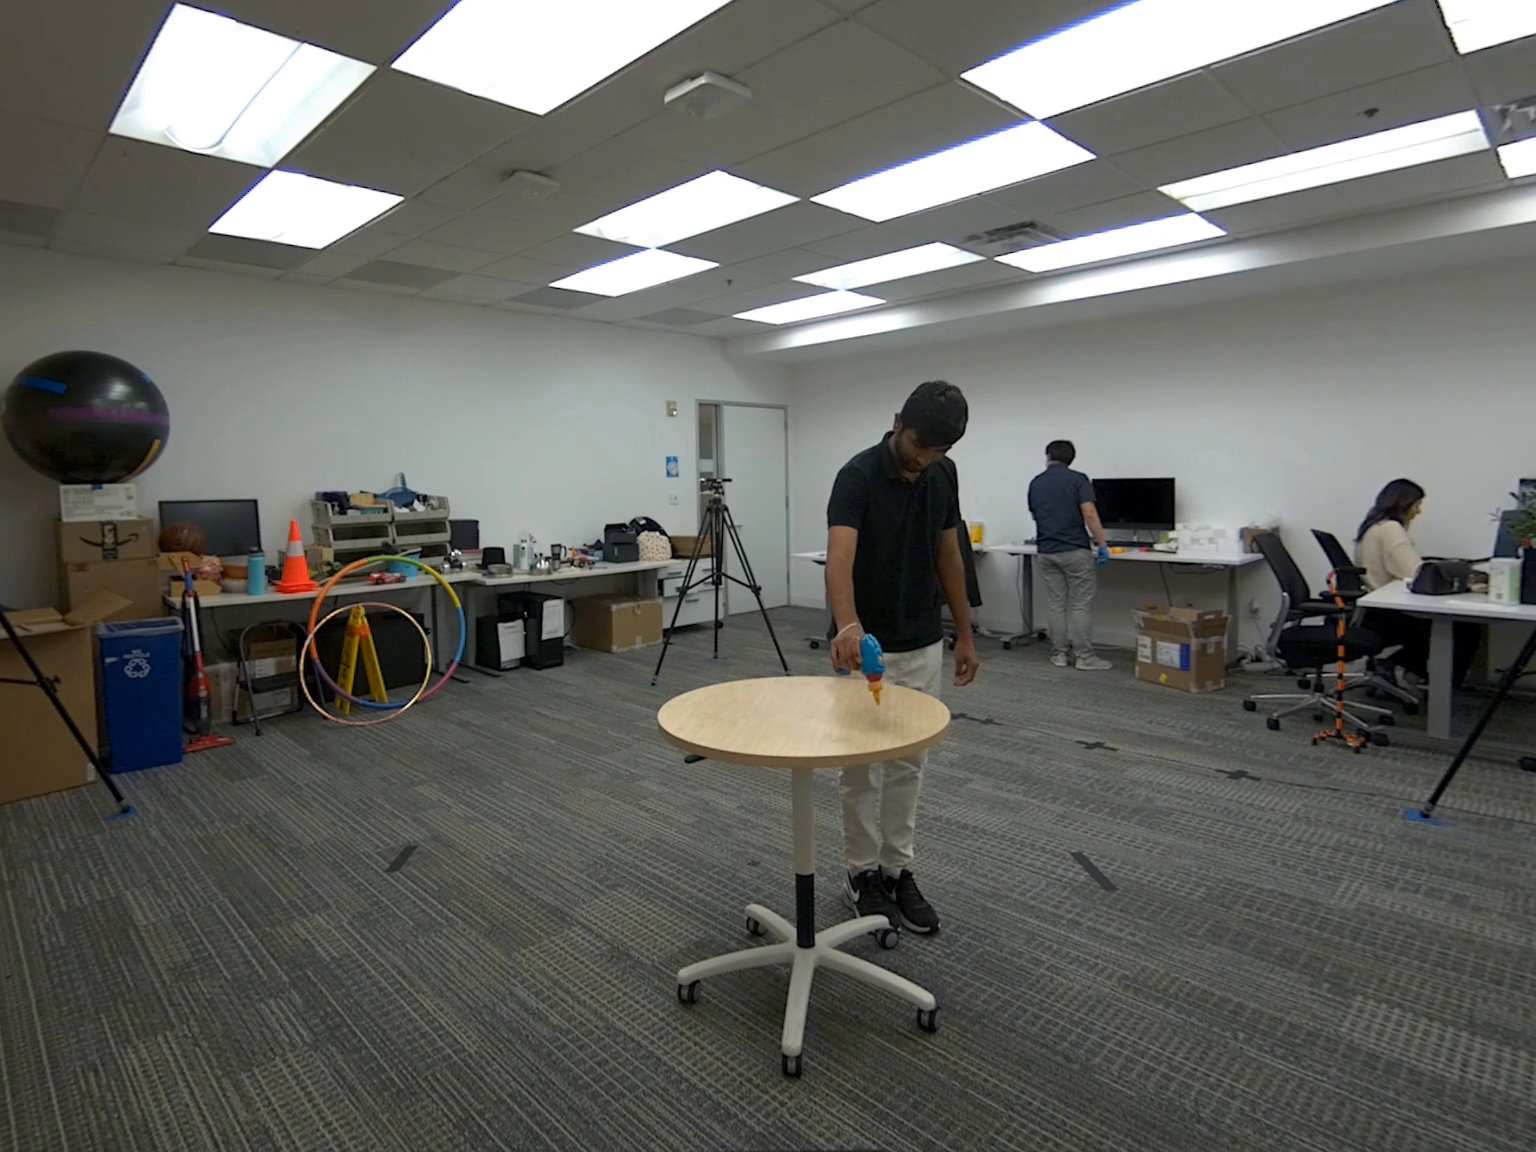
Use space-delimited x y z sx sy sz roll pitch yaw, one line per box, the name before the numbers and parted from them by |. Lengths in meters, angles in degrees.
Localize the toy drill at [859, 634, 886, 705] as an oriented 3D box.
toy drill | 0.217 0.234 2.074 0.059 0.172 0.148 -1 -14 -32
